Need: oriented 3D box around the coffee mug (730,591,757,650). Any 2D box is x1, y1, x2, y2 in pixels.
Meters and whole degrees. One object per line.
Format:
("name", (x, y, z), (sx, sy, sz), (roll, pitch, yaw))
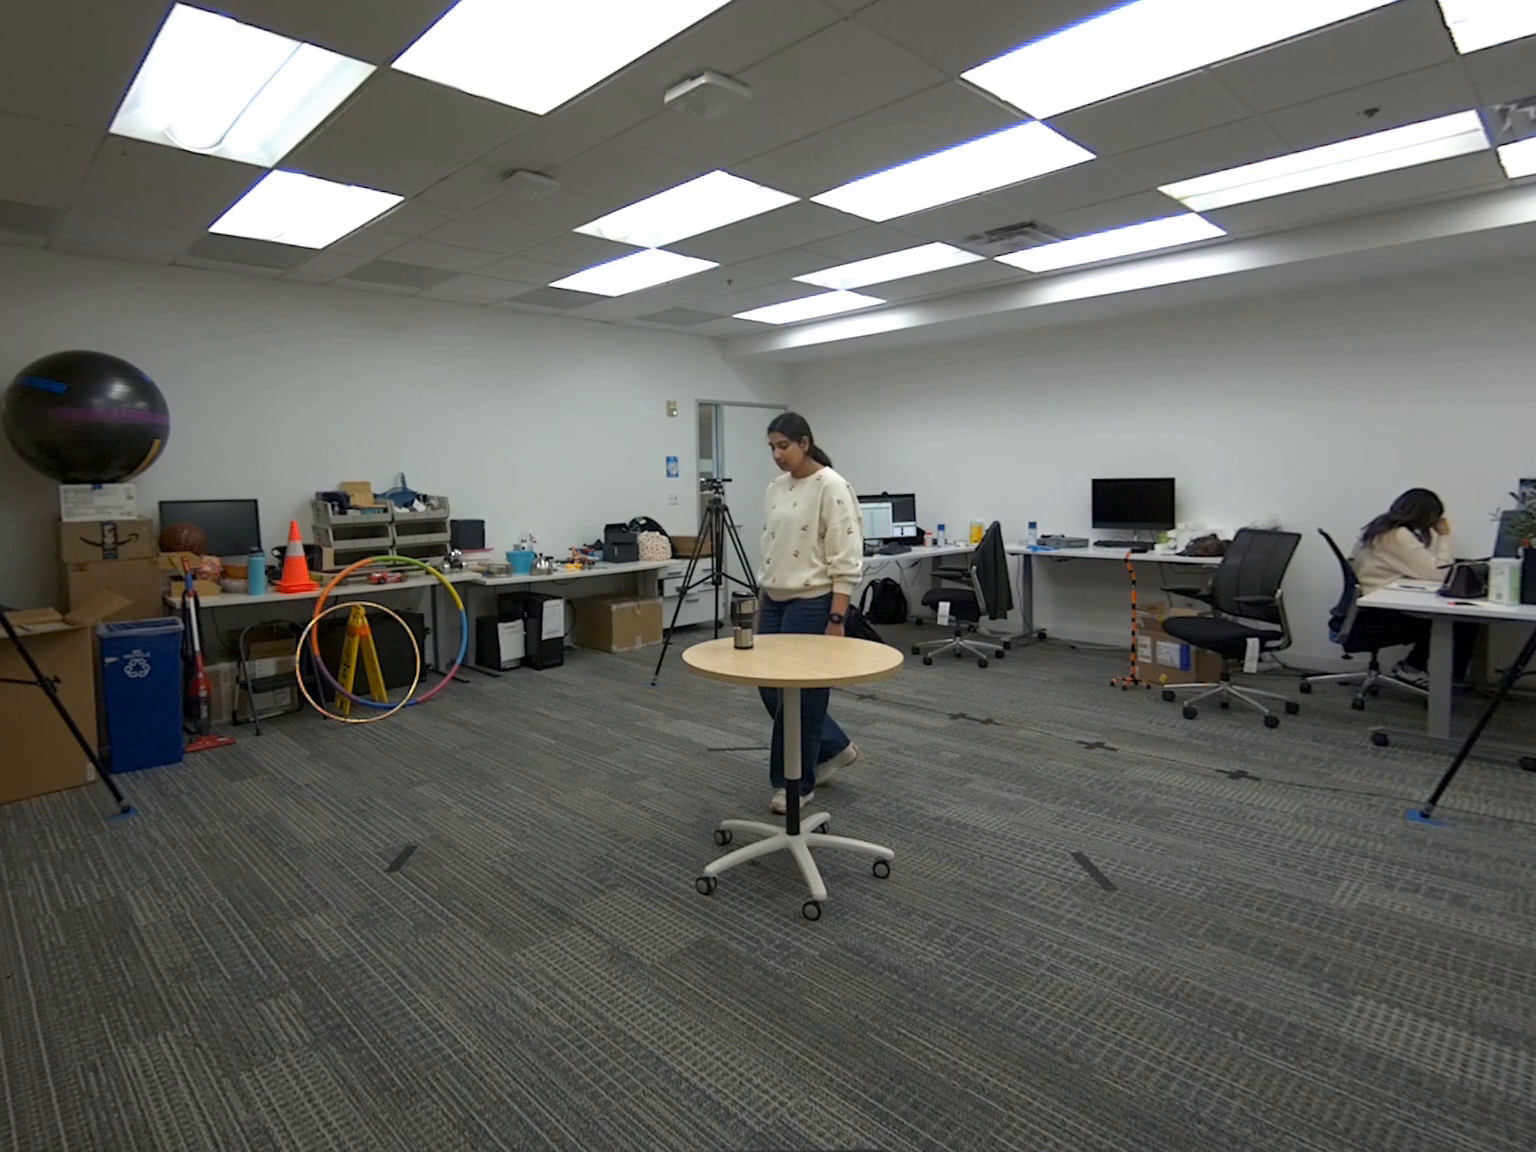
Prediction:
("coffee mug", (-0.102, 0.162, 3.081), (0.118, 0.202, 0.091), (-1, 7, -39))
